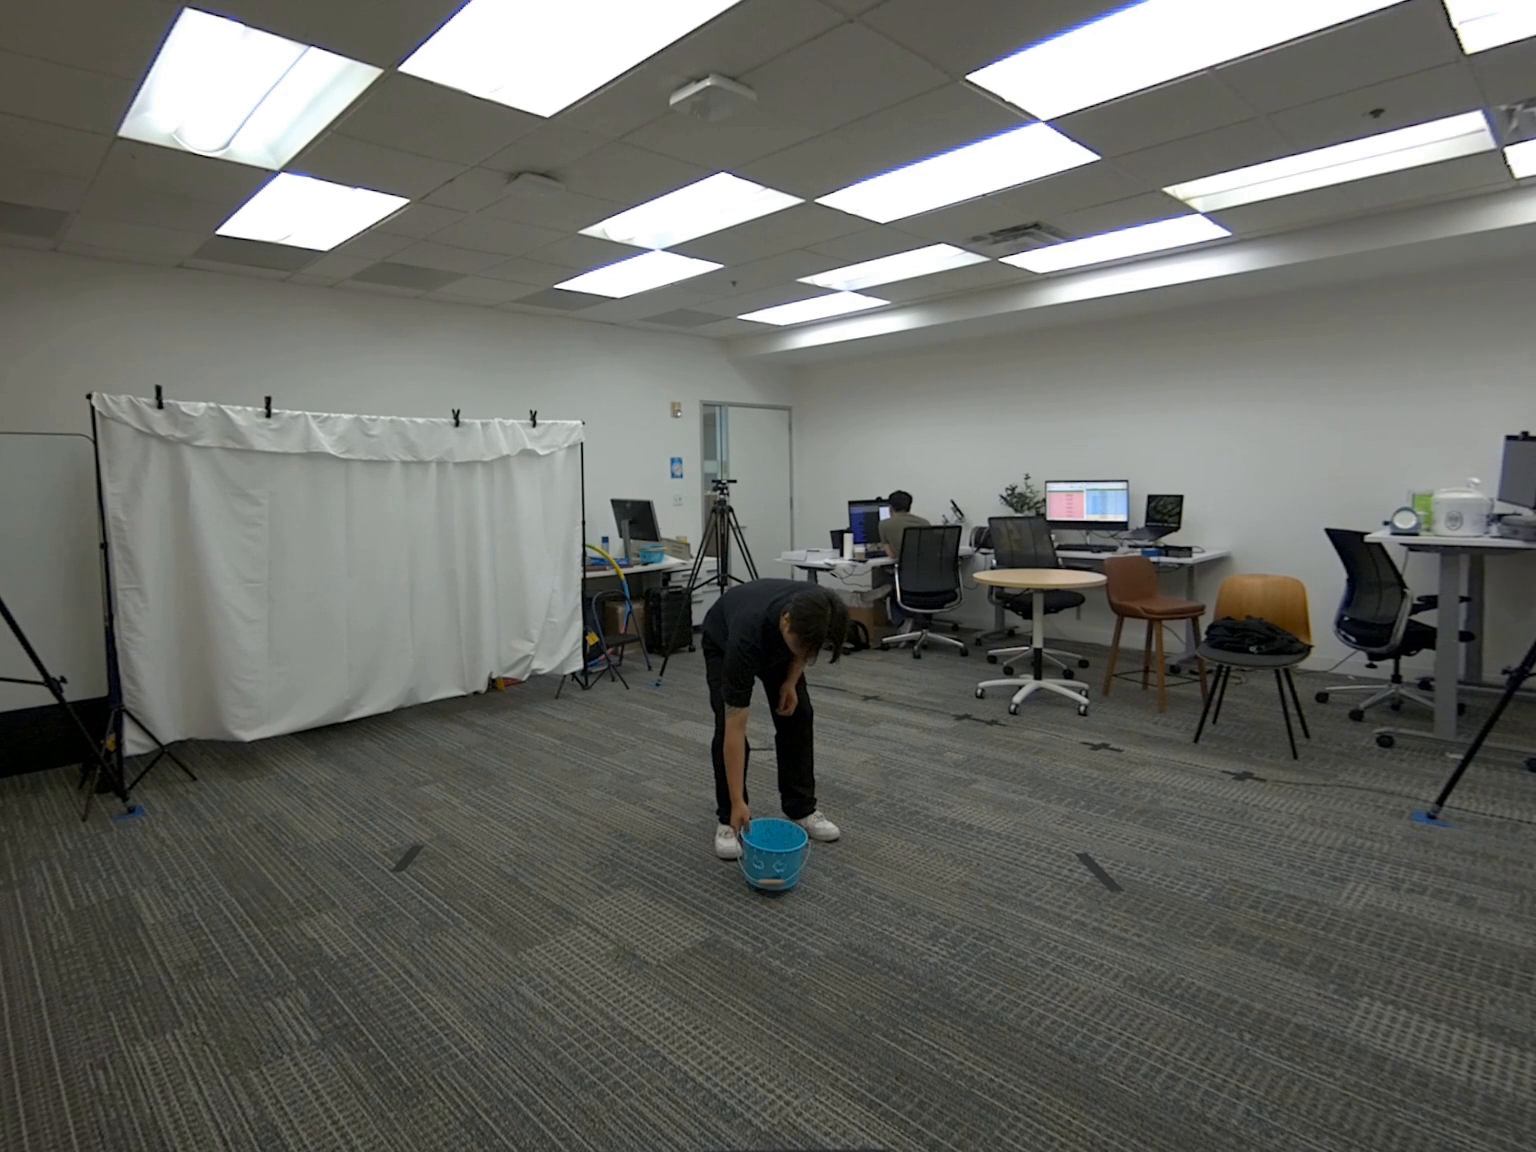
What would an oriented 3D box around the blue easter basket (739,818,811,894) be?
[{"bbox_3d":[0.020,0.953,2.915,0.243,0.155,0.246,3,9,-2],"label":"blue easter basket"}]
